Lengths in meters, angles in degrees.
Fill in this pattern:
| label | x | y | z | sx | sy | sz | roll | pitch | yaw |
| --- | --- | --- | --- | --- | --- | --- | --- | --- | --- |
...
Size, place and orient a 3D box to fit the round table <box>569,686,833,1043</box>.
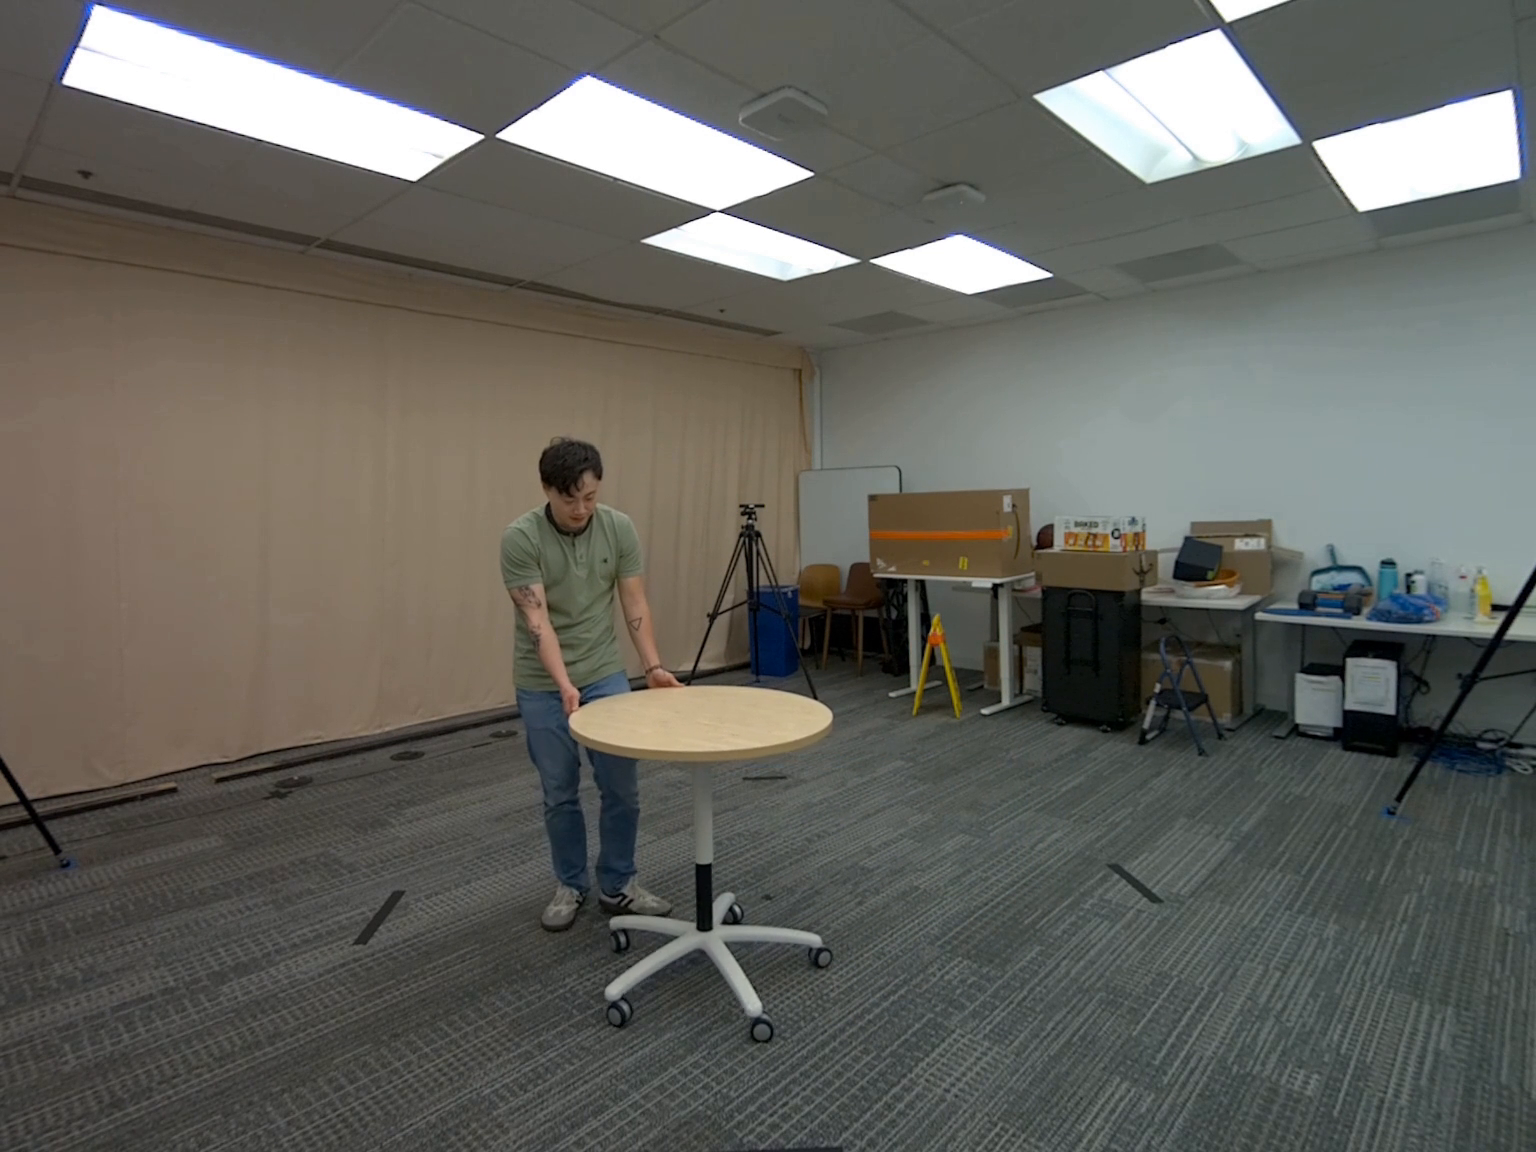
| label | x | y | z | sx | sy | sz | roll | pitch | yaw |
| --- | --- | --- | --- | --- | --- | --- | --- | --- | --- |
| round table | -0.184 | 0.799 | 2.475 | 0.763 | 0.792 | 0.767 | -1 | 4 | -2 |
